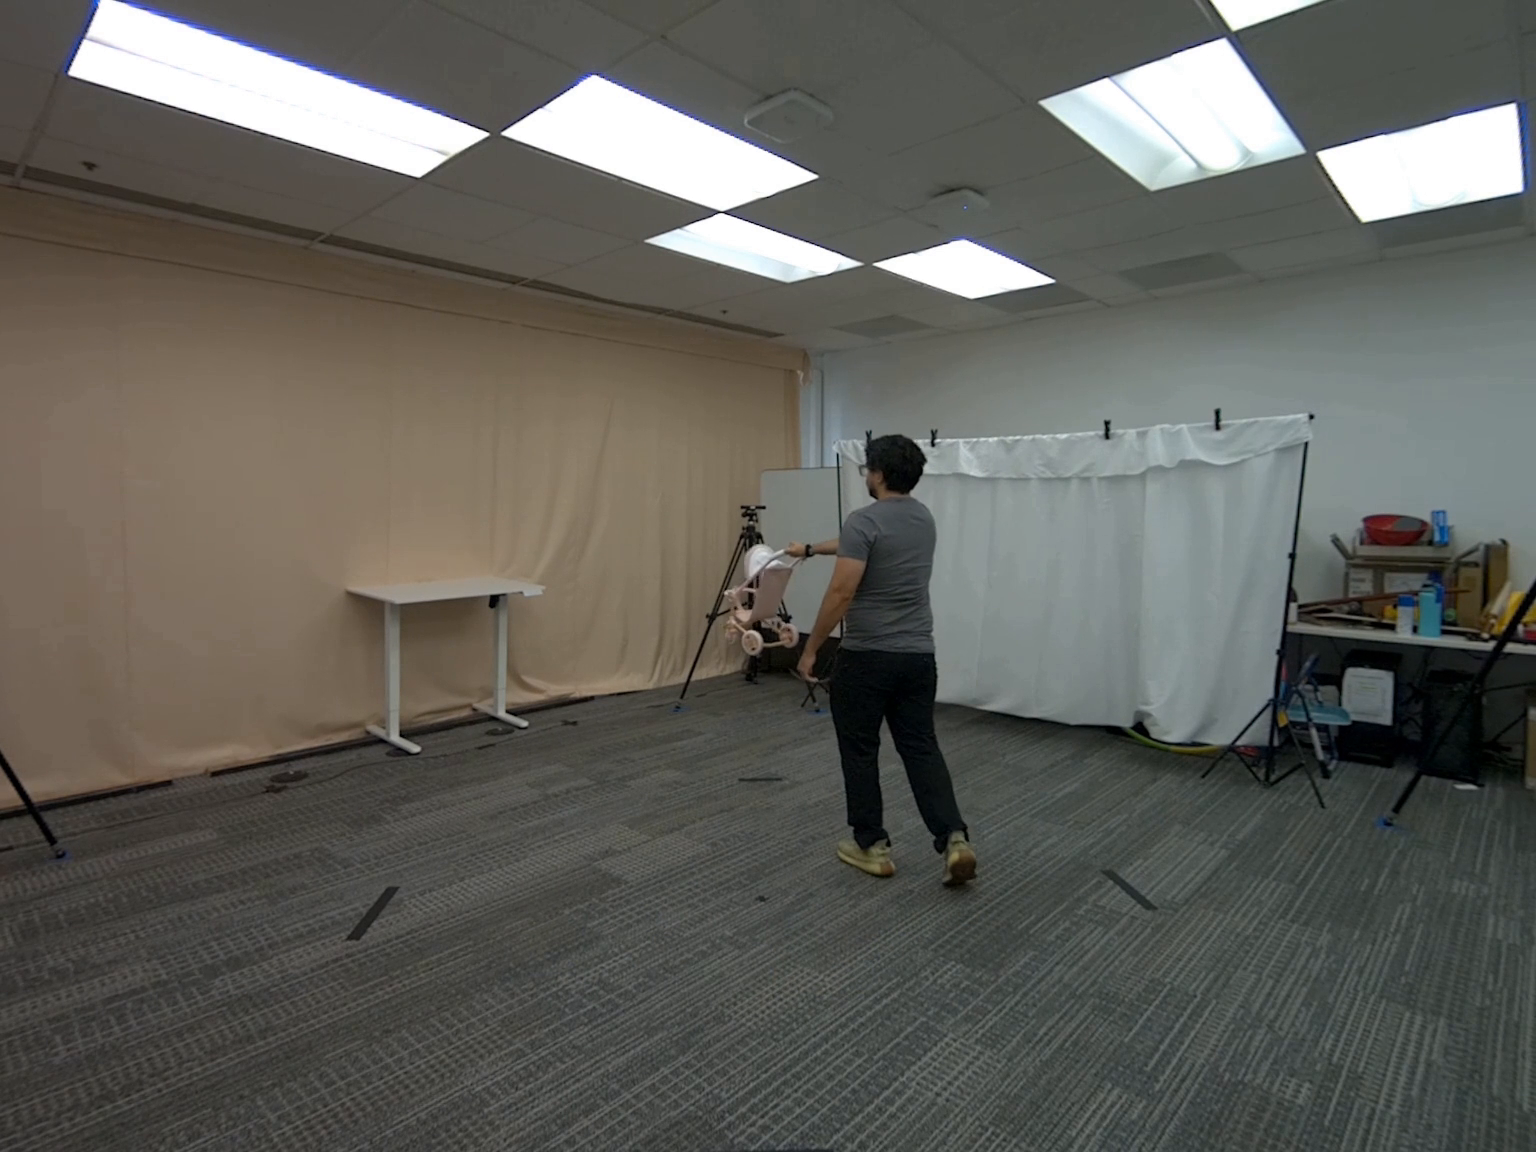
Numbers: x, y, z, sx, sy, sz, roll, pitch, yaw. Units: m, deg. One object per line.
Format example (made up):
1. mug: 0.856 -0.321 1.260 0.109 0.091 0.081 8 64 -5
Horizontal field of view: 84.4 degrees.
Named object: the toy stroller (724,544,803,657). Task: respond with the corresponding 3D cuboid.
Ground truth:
1. toy stroller: -0.034 0.102 3.780 0.273 0.532 0.354 -3 17 -43
